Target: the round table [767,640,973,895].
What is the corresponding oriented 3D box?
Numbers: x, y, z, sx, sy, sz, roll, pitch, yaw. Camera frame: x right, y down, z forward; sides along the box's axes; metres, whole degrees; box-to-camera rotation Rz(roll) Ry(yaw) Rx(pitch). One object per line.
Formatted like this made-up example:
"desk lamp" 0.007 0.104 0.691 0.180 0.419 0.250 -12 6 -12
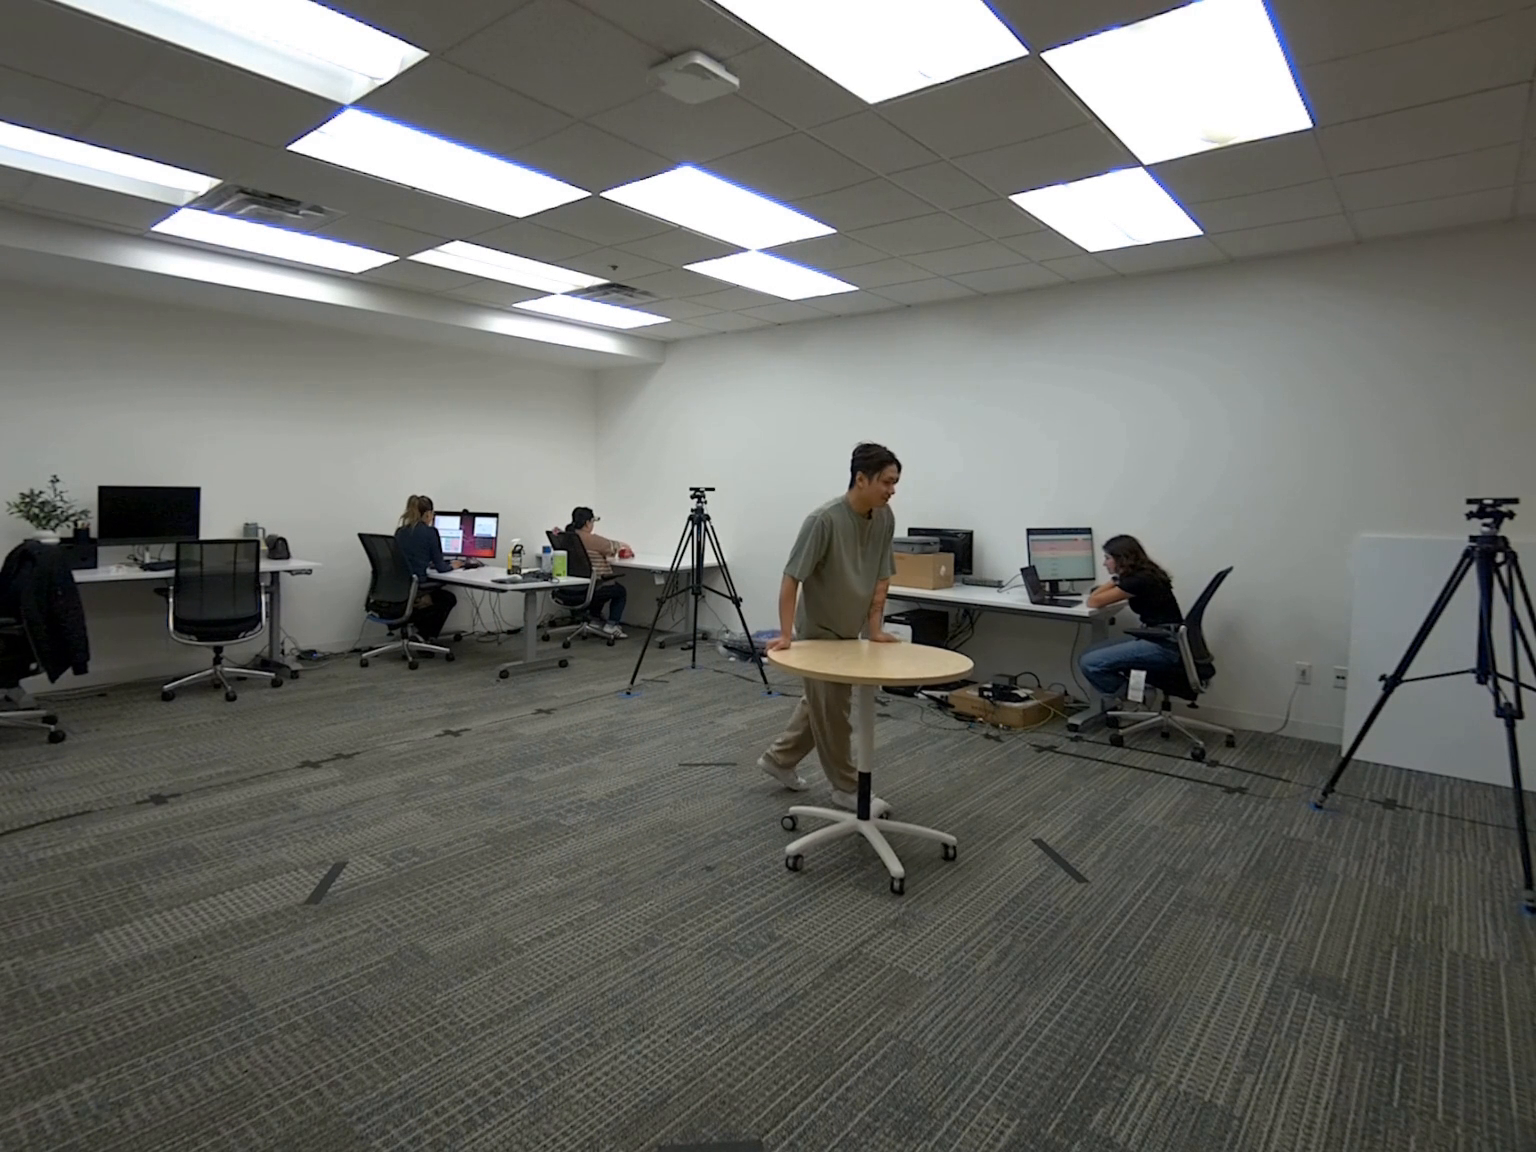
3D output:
"round table" 0.343 0.680 3.247 0.784 0.784 0.789 2 4 -2
